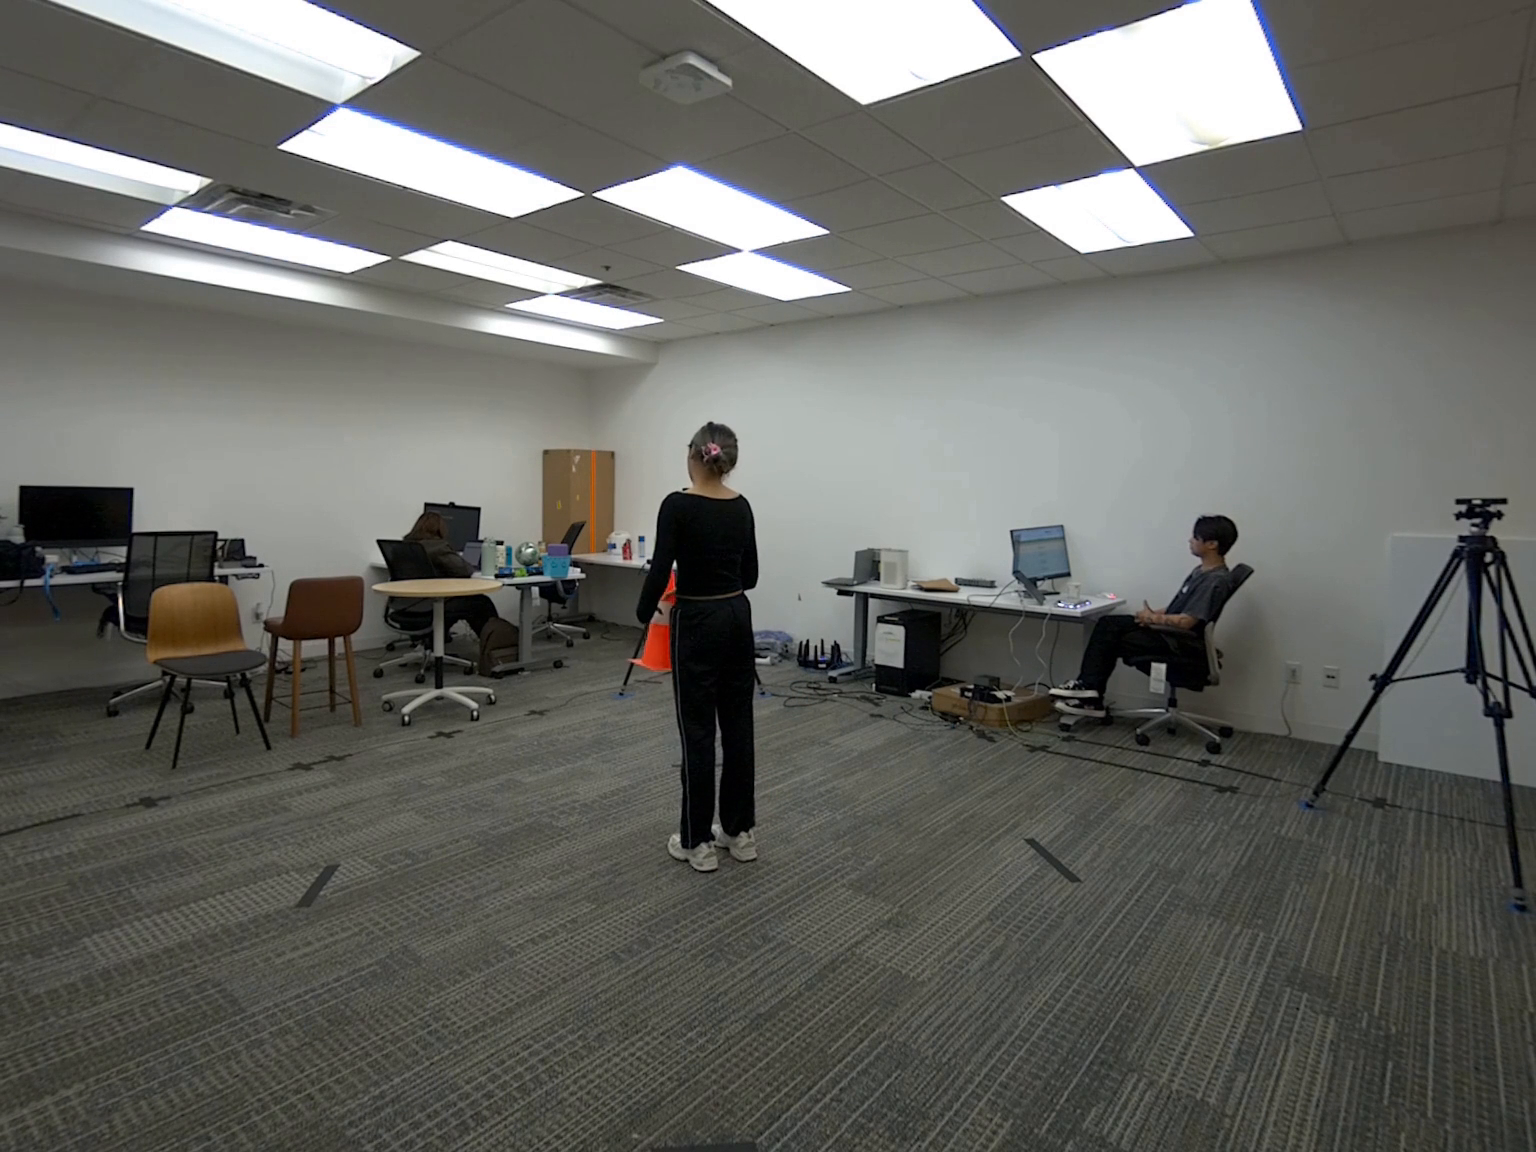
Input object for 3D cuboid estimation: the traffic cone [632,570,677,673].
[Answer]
[{"bbox_3d":[-0.420,0.175,3.432,0.198,0.383,0.210,6,1,-42],"label":"traffic cone"}]
